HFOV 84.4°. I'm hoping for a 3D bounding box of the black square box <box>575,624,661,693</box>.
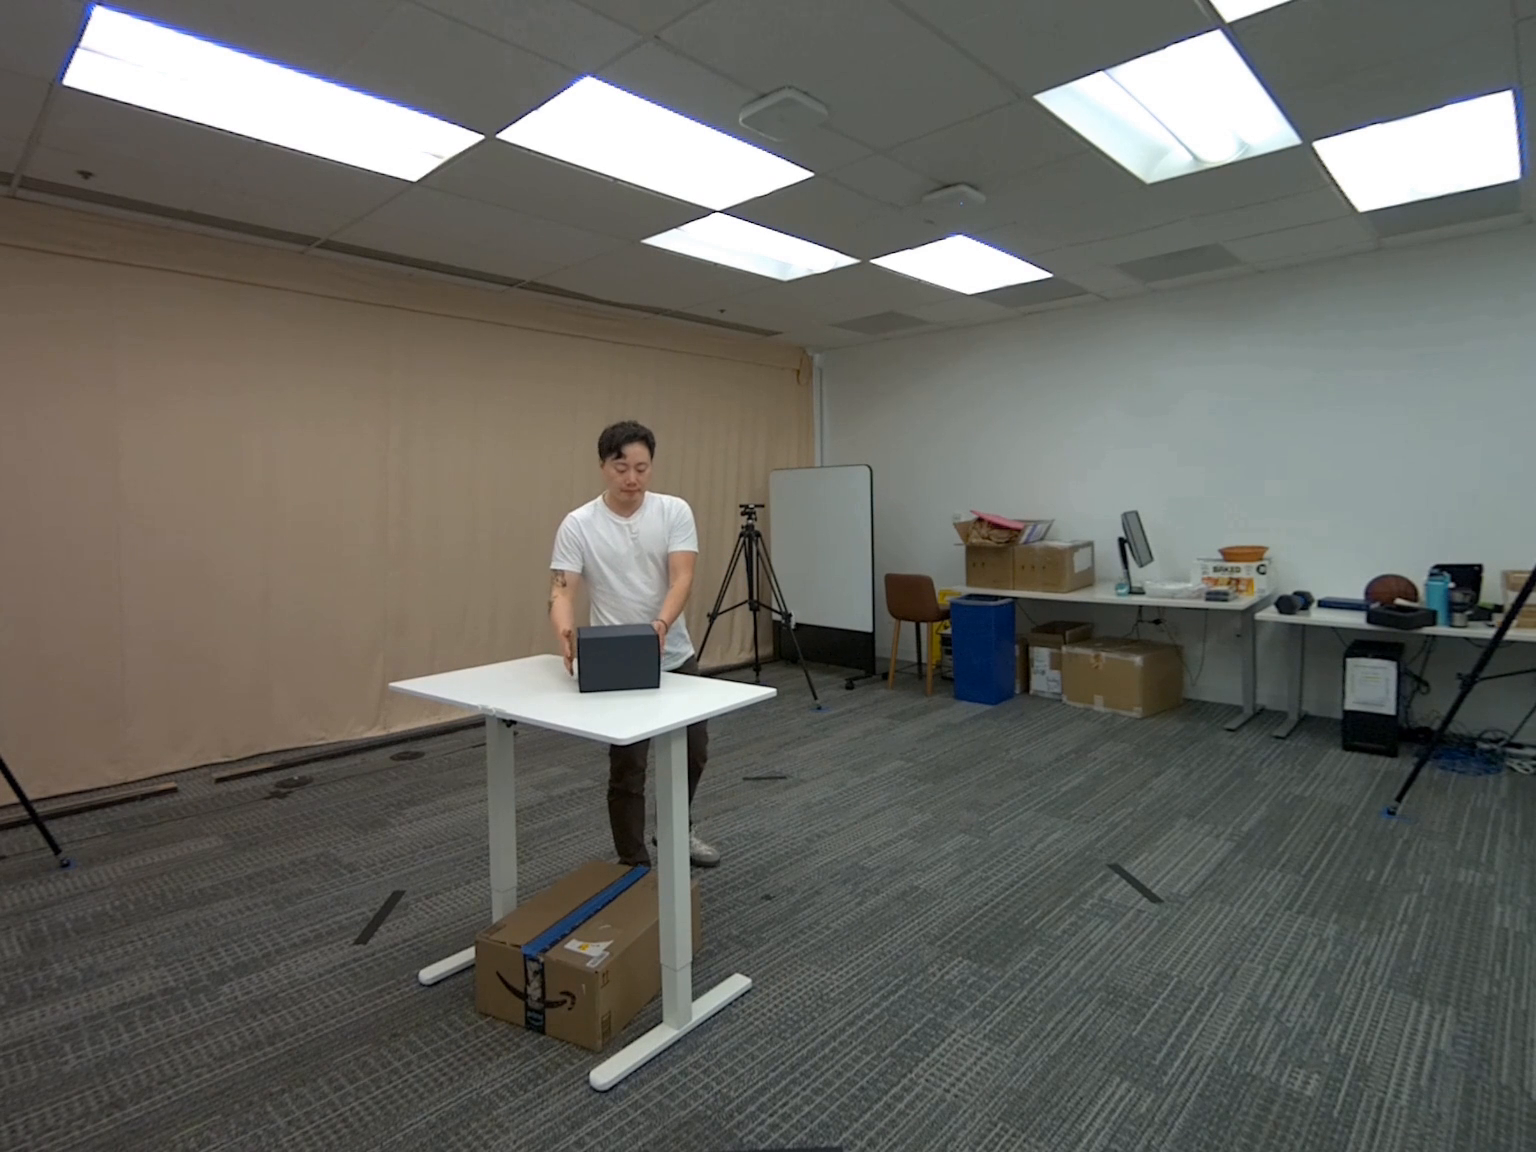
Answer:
[{"bbox_3d":[-0.436,0.229,2.452,0.225,0.155,0.220,-1,4,-13],"label":"black square box"}]
